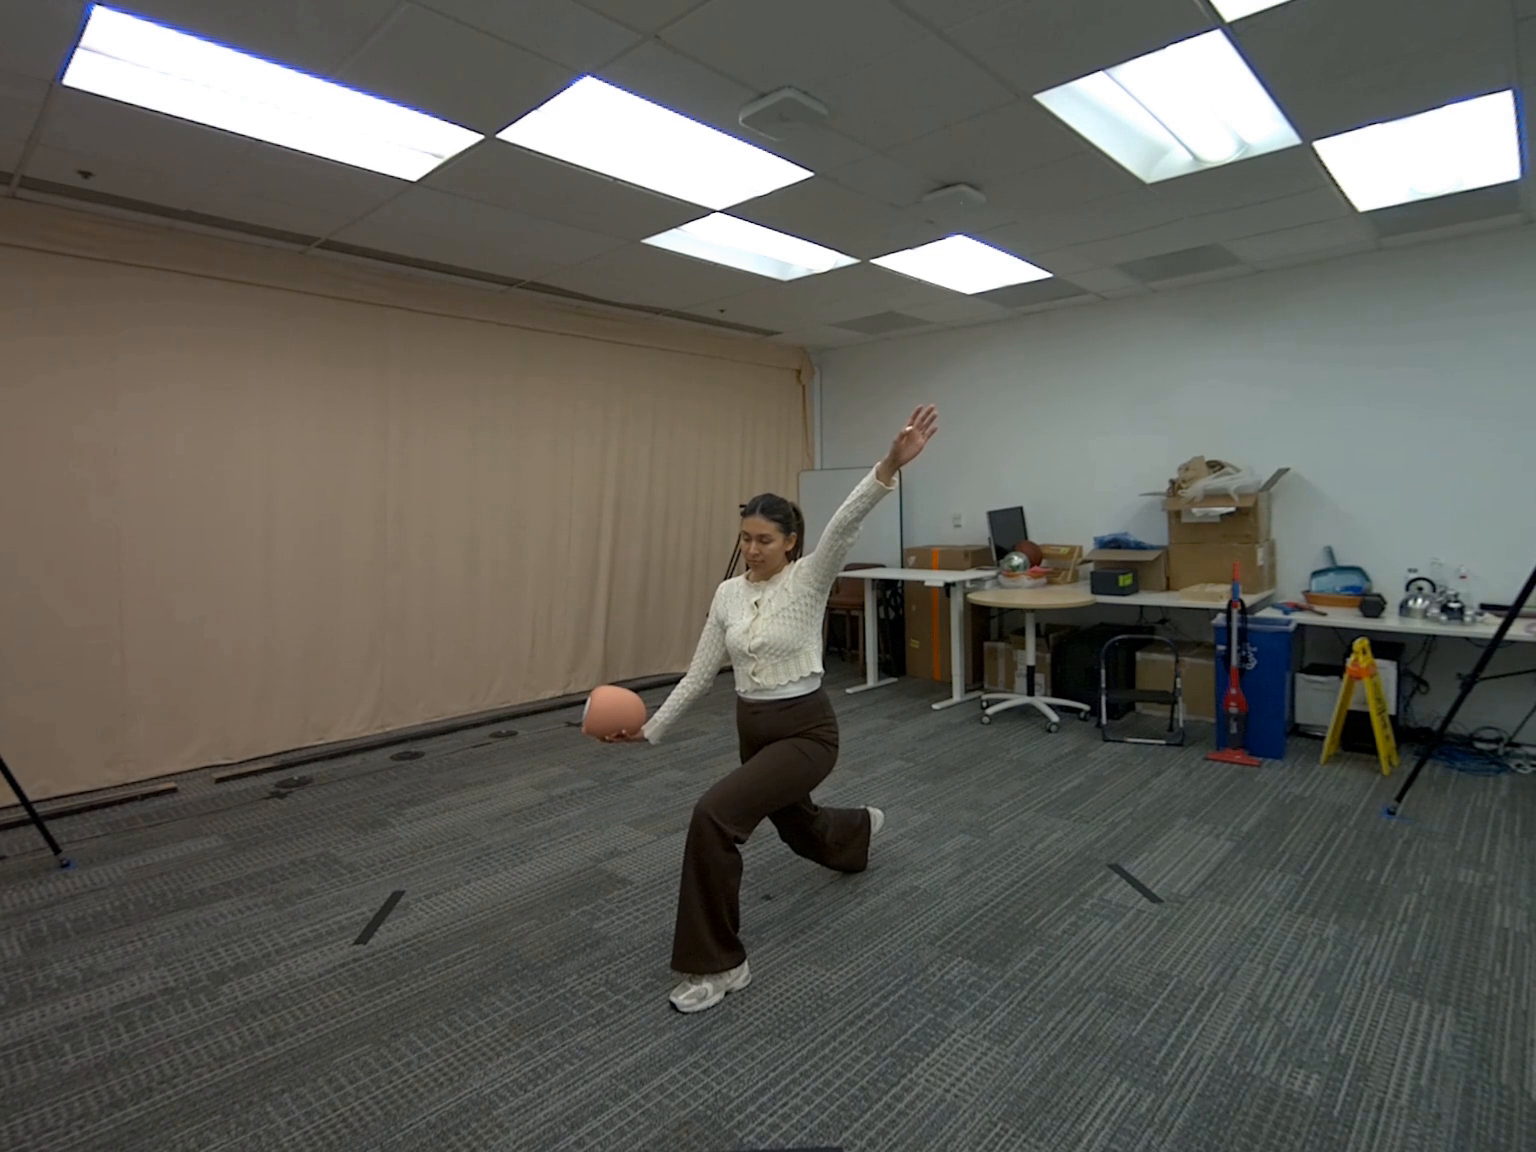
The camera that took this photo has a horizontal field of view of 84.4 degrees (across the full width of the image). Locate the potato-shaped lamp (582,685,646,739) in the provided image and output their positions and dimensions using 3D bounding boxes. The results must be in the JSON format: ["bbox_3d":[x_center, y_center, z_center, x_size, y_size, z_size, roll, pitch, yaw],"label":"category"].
[{"bbox_3d":[-0.499,0.453,2.770,0.195,0.171,0.167,16,15,-11],"label":"potato-shaped lamp"}]
